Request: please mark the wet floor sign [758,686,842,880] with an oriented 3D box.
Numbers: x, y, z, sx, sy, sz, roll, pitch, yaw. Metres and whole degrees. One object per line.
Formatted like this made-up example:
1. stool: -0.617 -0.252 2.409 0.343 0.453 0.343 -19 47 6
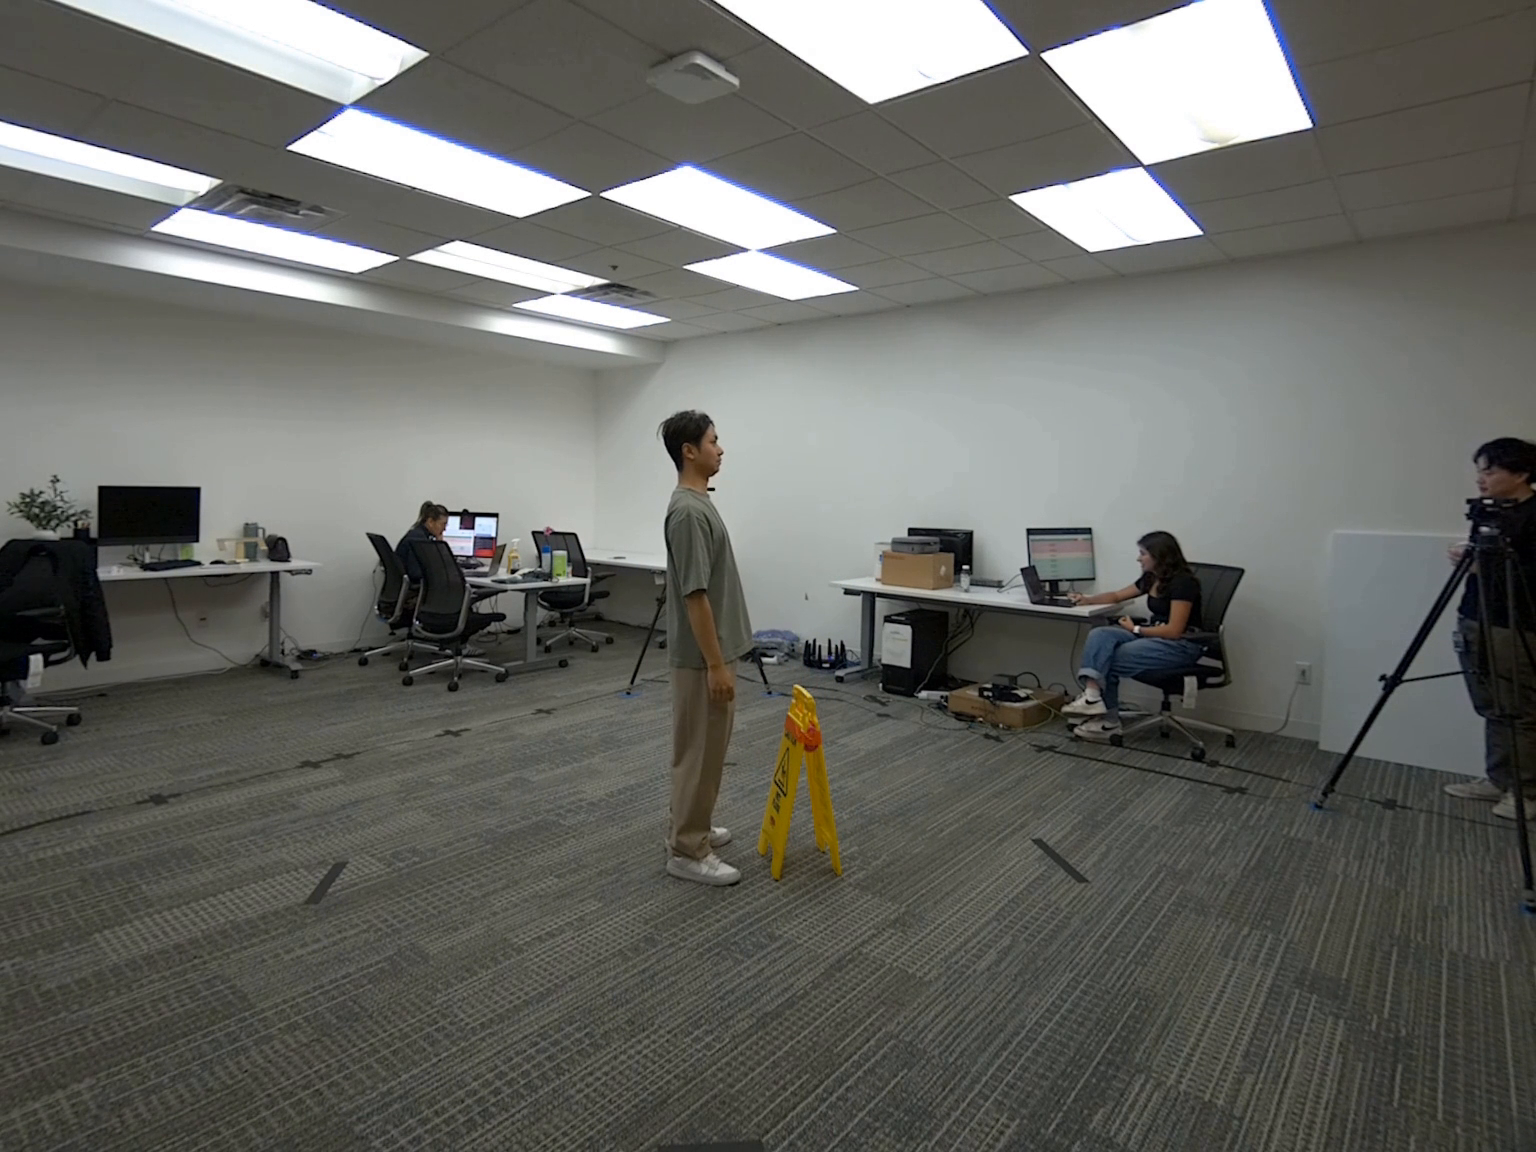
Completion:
1. wet floor sign: 0.113 0.748 3.151 0.286 0.643 0.287 1 5 -13
